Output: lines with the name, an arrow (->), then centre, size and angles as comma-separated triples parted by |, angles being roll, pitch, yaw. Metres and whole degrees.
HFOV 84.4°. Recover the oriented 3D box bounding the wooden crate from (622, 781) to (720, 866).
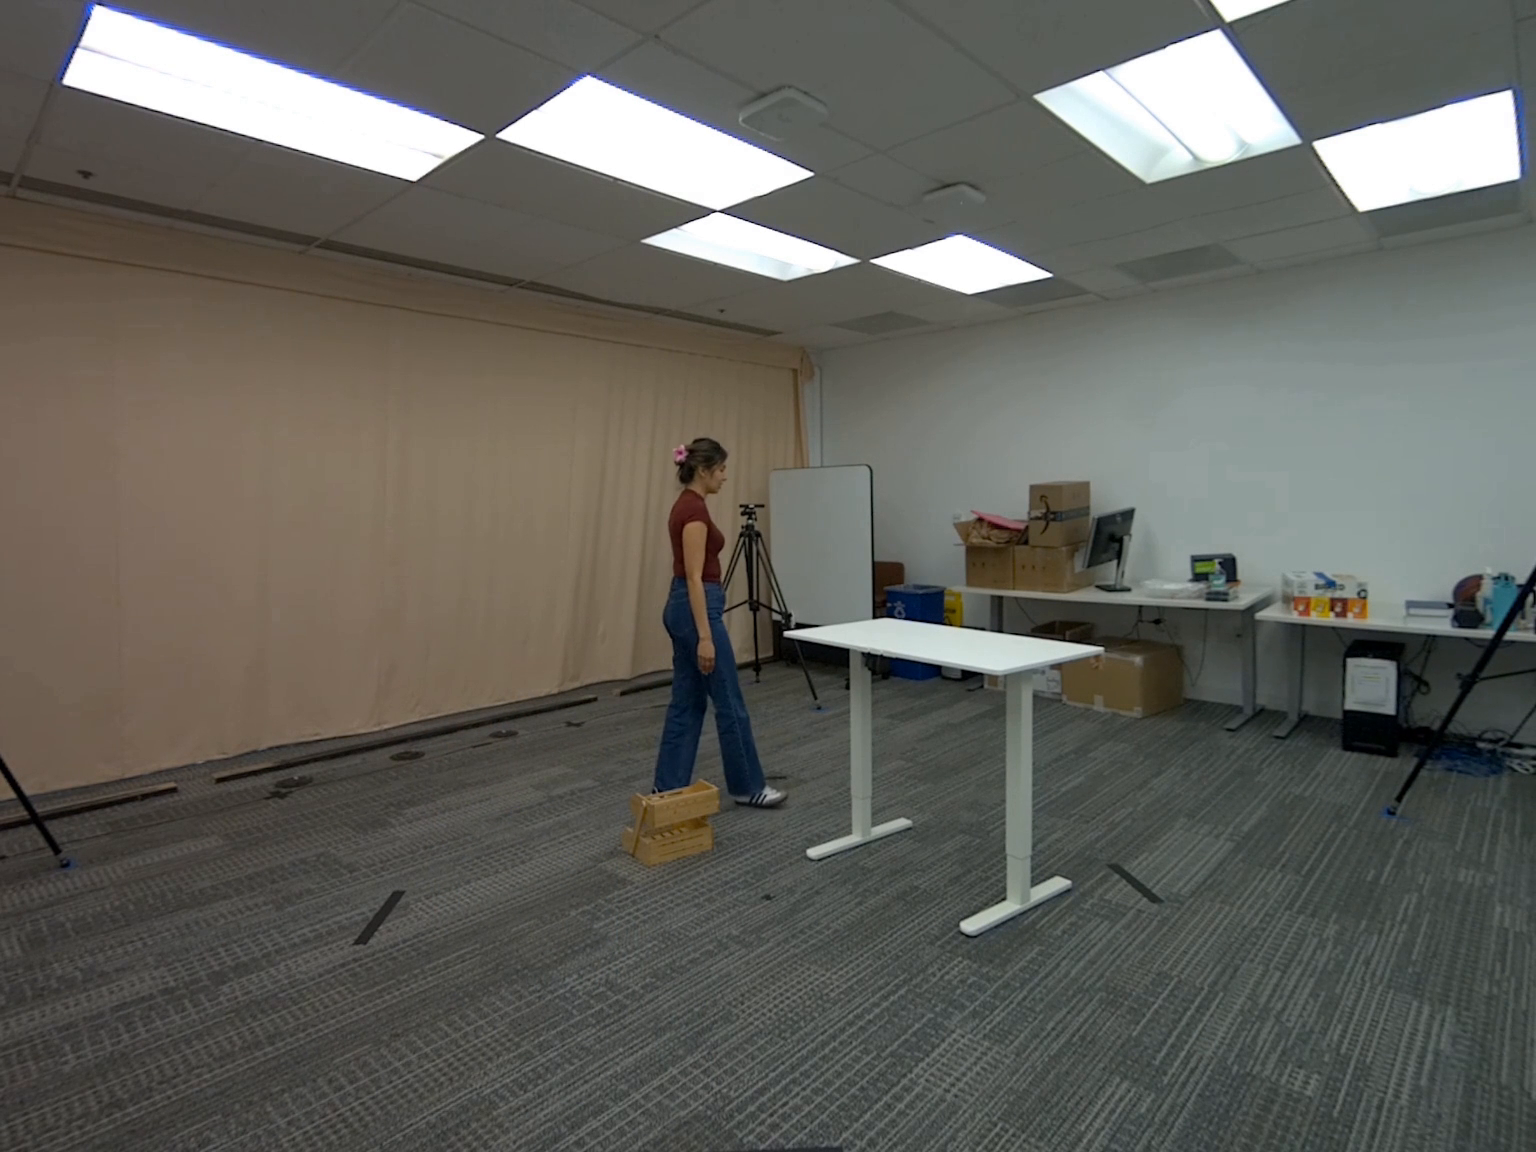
wooden crate -> -0.406, 0.975, 3.419 | 0.315, 0.272, 0.311 | -4, 6, -32
